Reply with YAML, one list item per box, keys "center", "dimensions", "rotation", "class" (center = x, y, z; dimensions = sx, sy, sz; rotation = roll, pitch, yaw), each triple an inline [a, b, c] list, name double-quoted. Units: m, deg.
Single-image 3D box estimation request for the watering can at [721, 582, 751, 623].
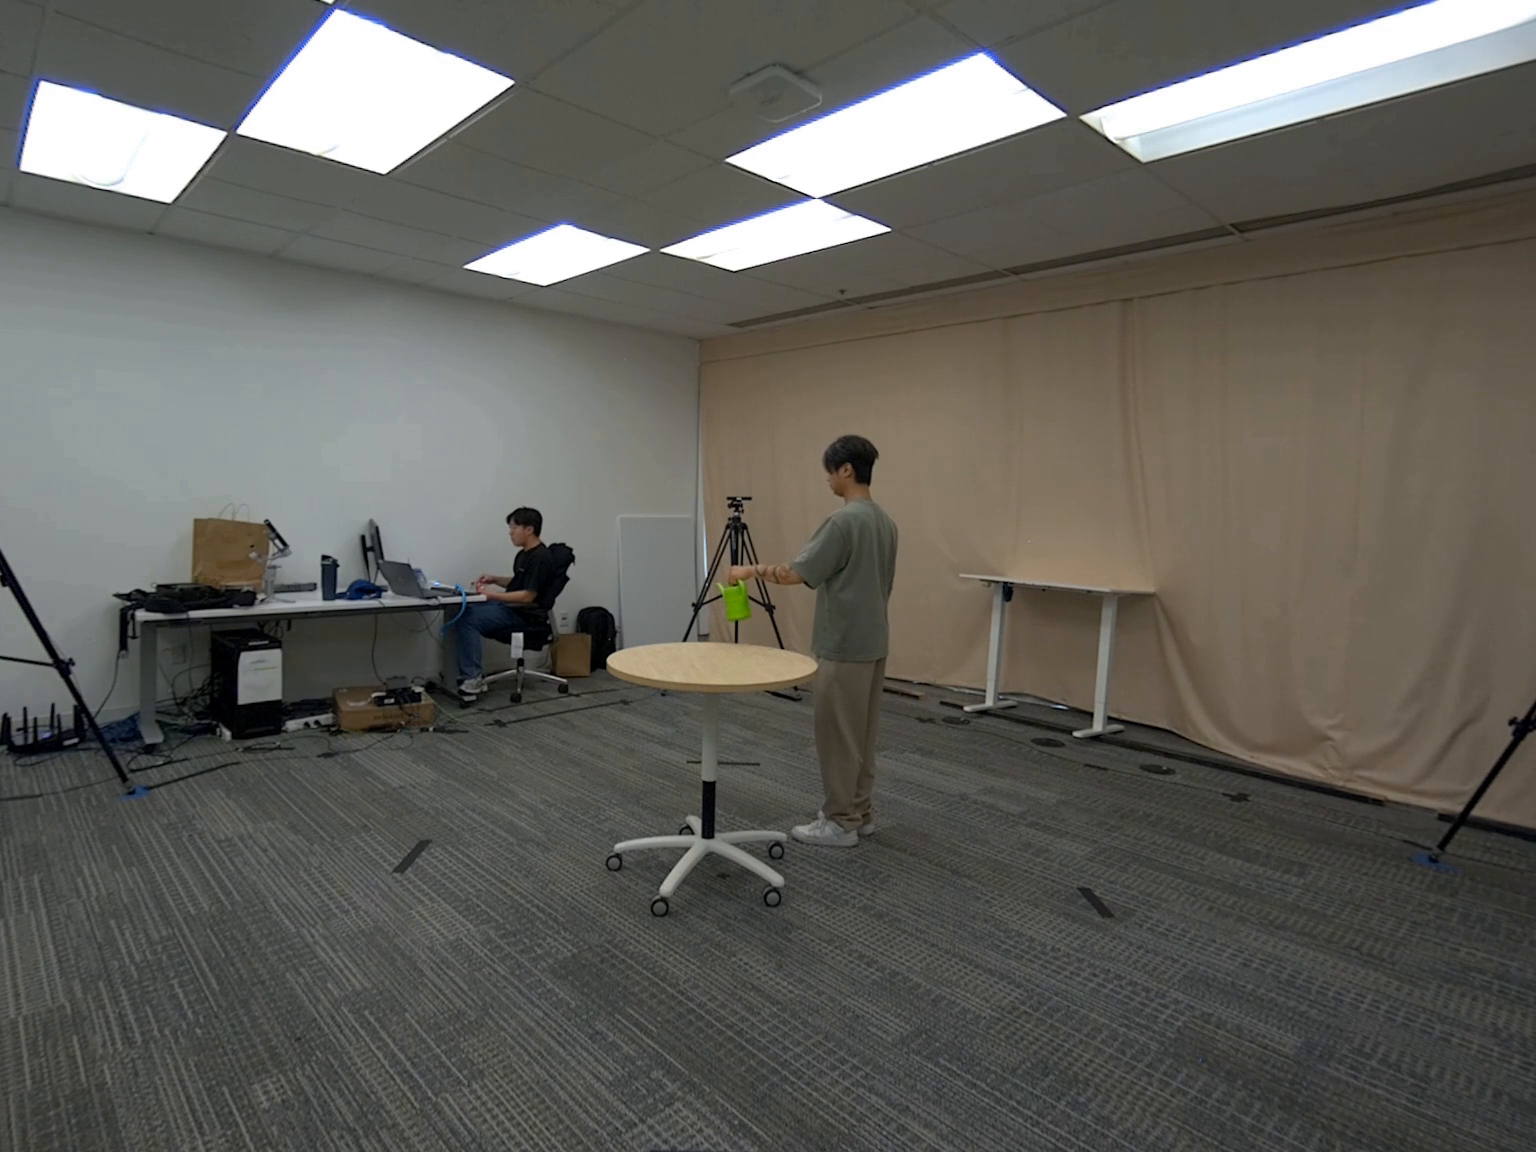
- center: [-0.143, 0.103, 3.545]
  dimensions: [0.097, 0.178, 0.278]
  rotation: [-7, -6, -10]
  class: "watering can"
